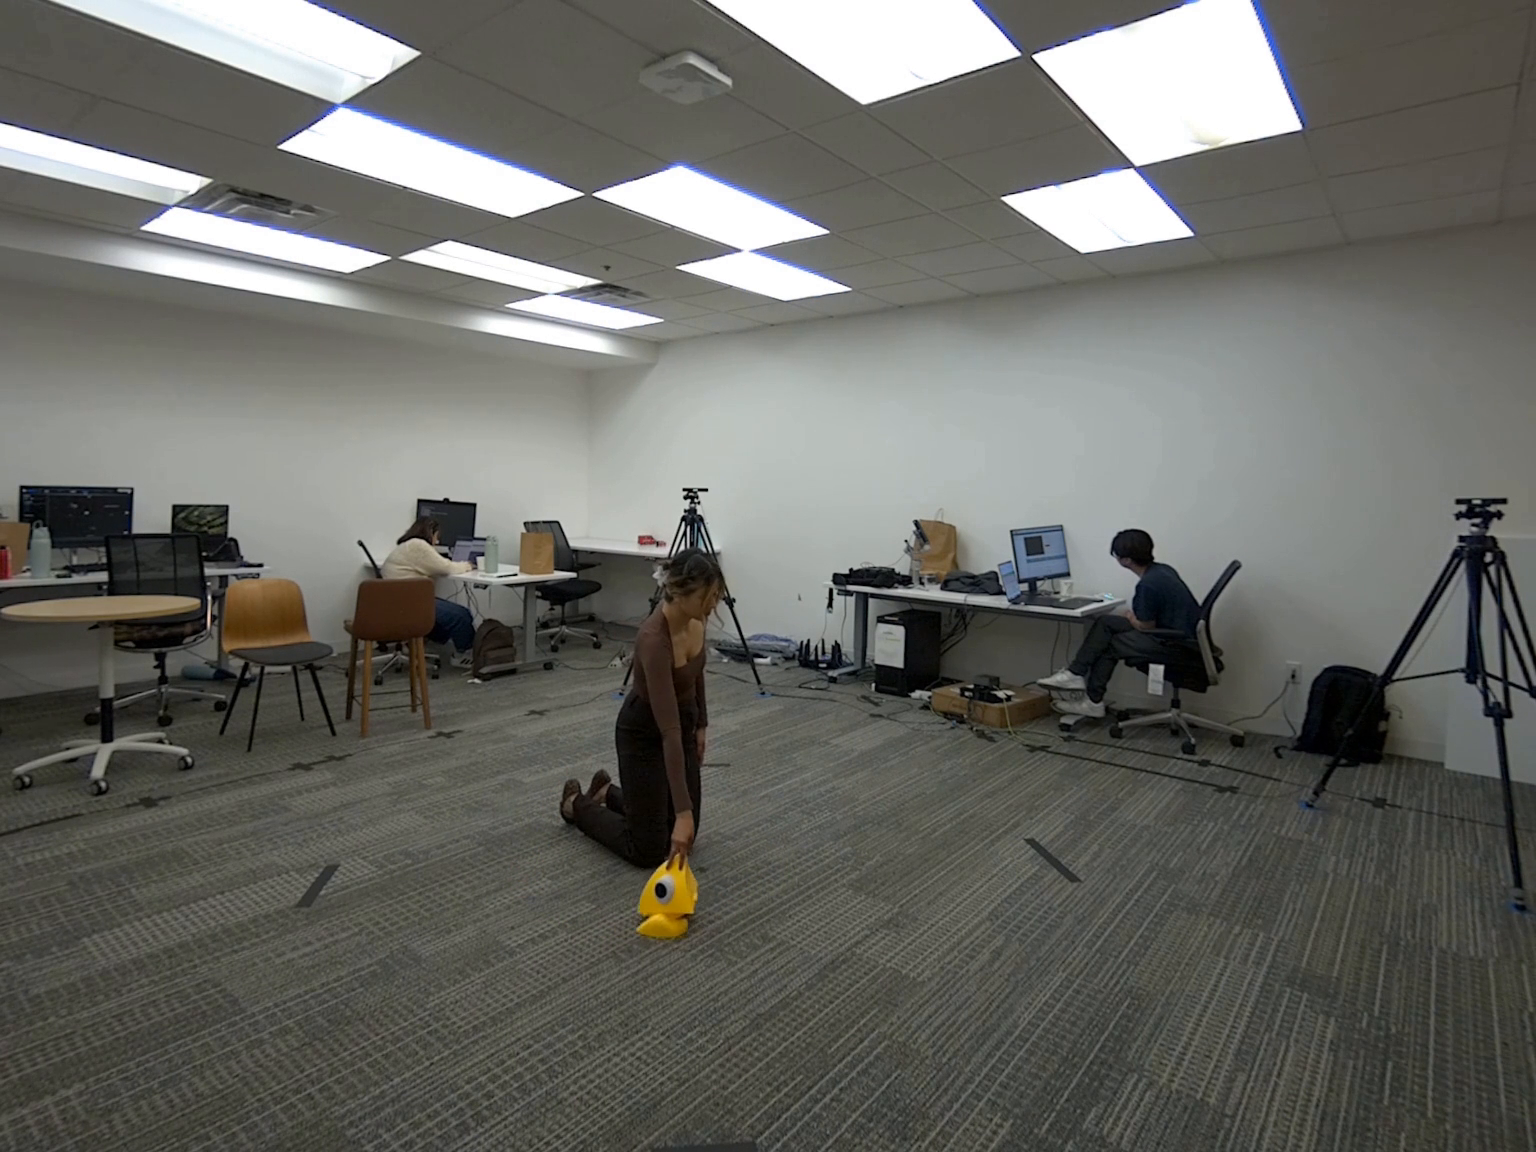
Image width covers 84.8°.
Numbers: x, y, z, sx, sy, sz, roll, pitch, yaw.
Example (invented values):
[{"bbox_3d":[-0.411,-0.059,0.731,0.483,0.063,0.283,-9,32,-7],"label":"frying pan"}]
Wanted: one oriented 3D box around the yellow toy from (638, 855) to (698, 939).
[{"bbox_3d":[-0.336,0.988,2.723,0.193,0.230,0.205,2,3,1],"label":"yellow toy"}]
